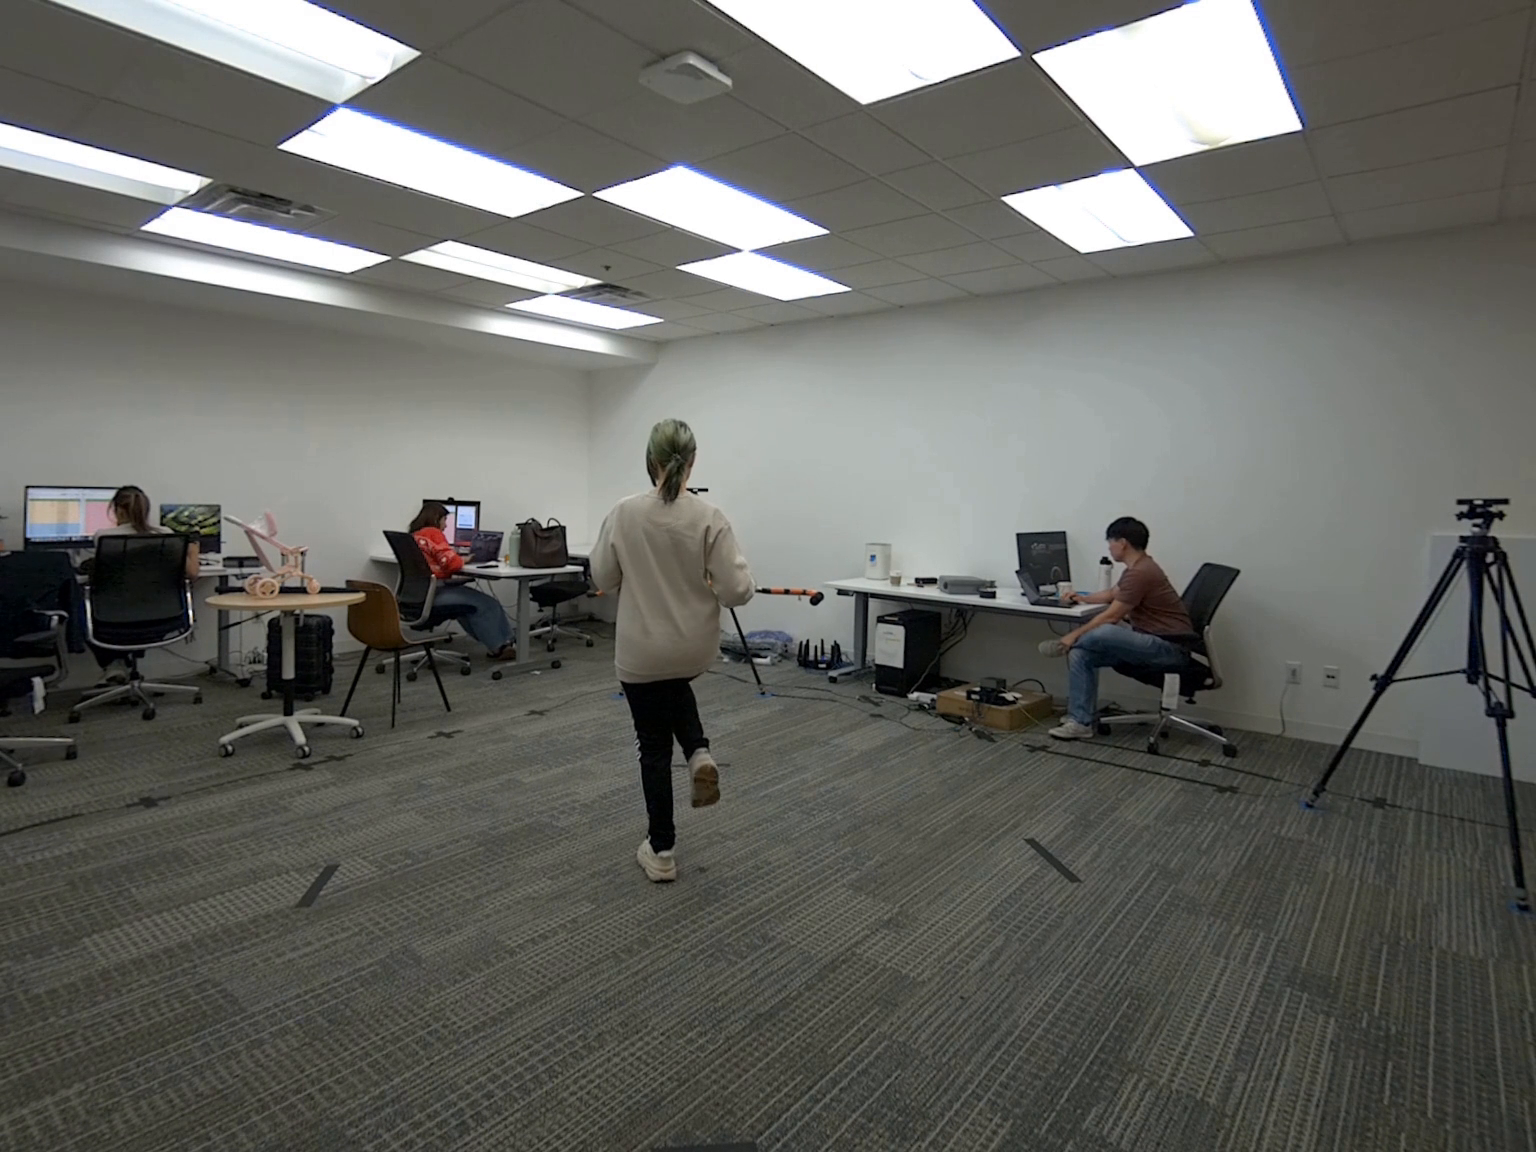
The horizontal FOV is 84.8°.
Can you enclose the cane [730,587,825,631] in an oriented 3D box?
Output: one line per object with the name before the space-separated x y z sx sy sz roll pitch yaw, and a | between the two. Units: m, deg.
cane | -0.230 0.041 3.281 0.926 0.151 0.203 5 6 17
